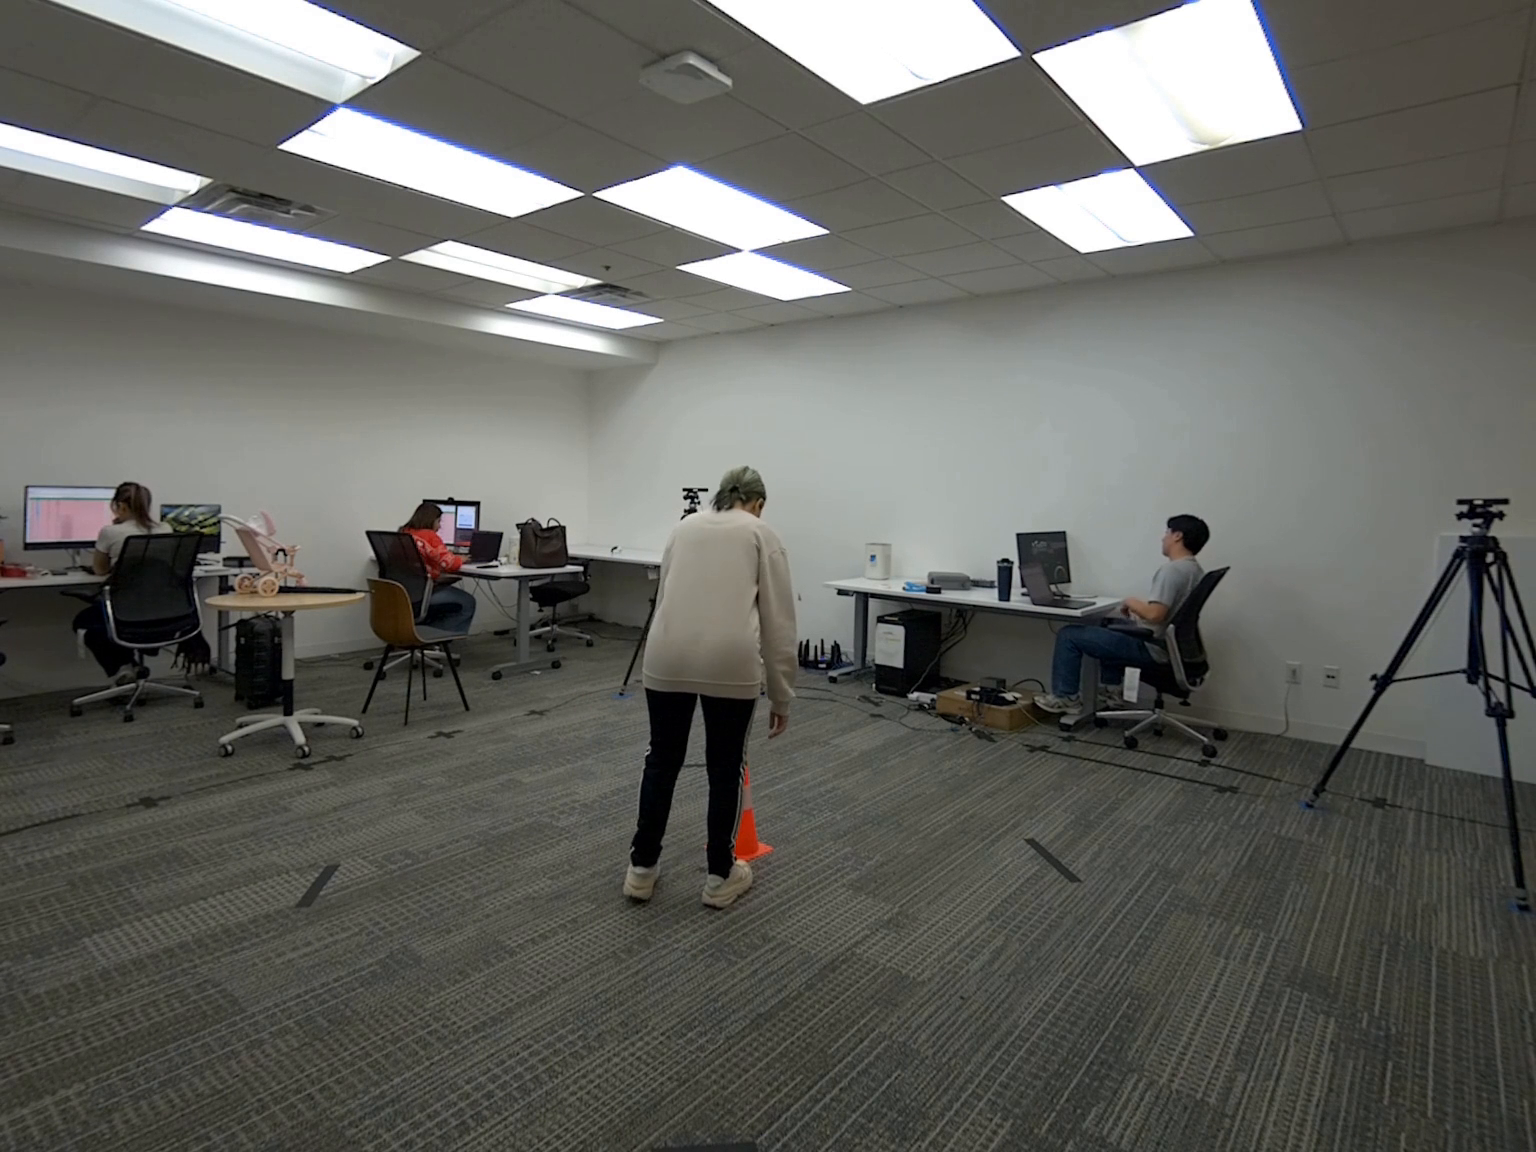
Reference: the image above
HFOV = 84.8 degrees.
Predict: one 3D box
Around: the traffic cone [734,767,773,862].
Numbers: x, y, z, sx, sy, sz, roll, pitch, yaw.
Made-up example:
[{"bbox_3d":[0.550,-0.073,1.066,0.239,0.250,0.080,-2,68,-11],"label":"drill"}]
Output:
[{"bbox_3d":[-0.120,0.872,3.289,0.197,0.383,0.212,-1,4,-36],"label":"traffic cone"}]
